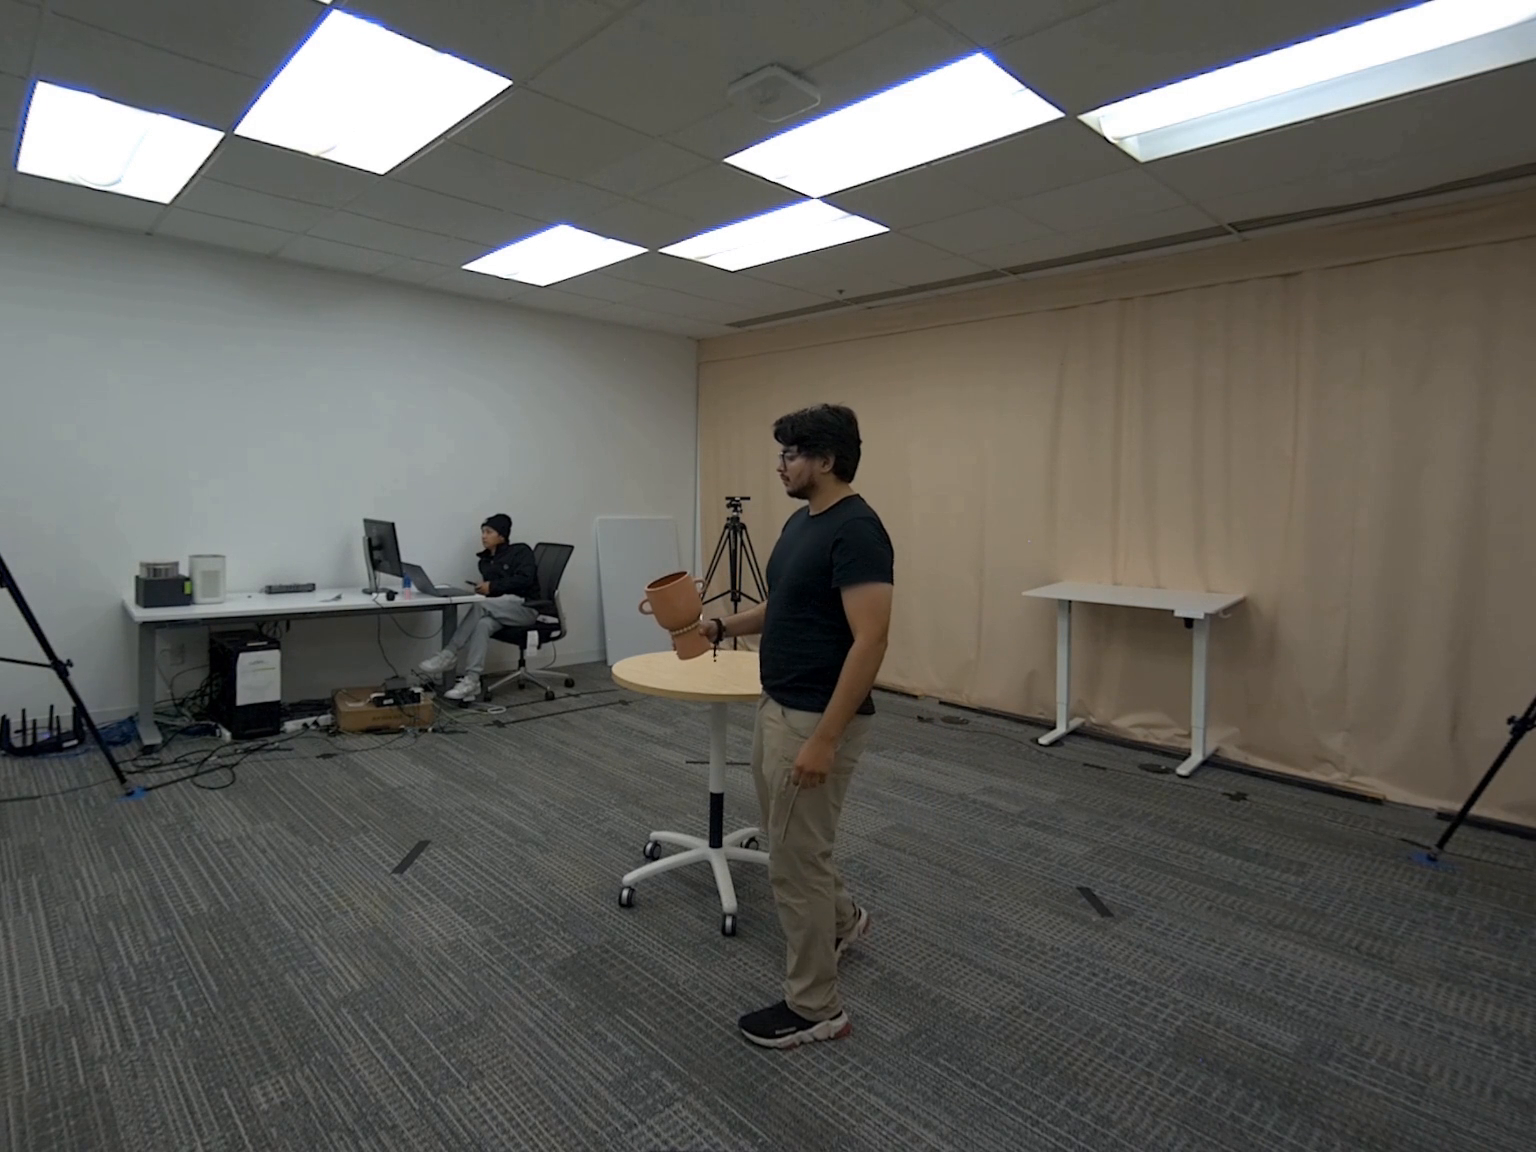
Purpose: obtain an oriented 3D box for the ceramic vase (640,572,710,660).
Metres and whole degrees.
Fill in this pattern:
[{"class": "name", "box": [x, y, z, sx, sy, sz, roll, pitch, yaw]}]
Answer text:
[{"class": "ceramic vase", "box": [-0.242, 0.112, 2.314, 0.161, 0.217, 0.134, -11, 17, 32]}]
